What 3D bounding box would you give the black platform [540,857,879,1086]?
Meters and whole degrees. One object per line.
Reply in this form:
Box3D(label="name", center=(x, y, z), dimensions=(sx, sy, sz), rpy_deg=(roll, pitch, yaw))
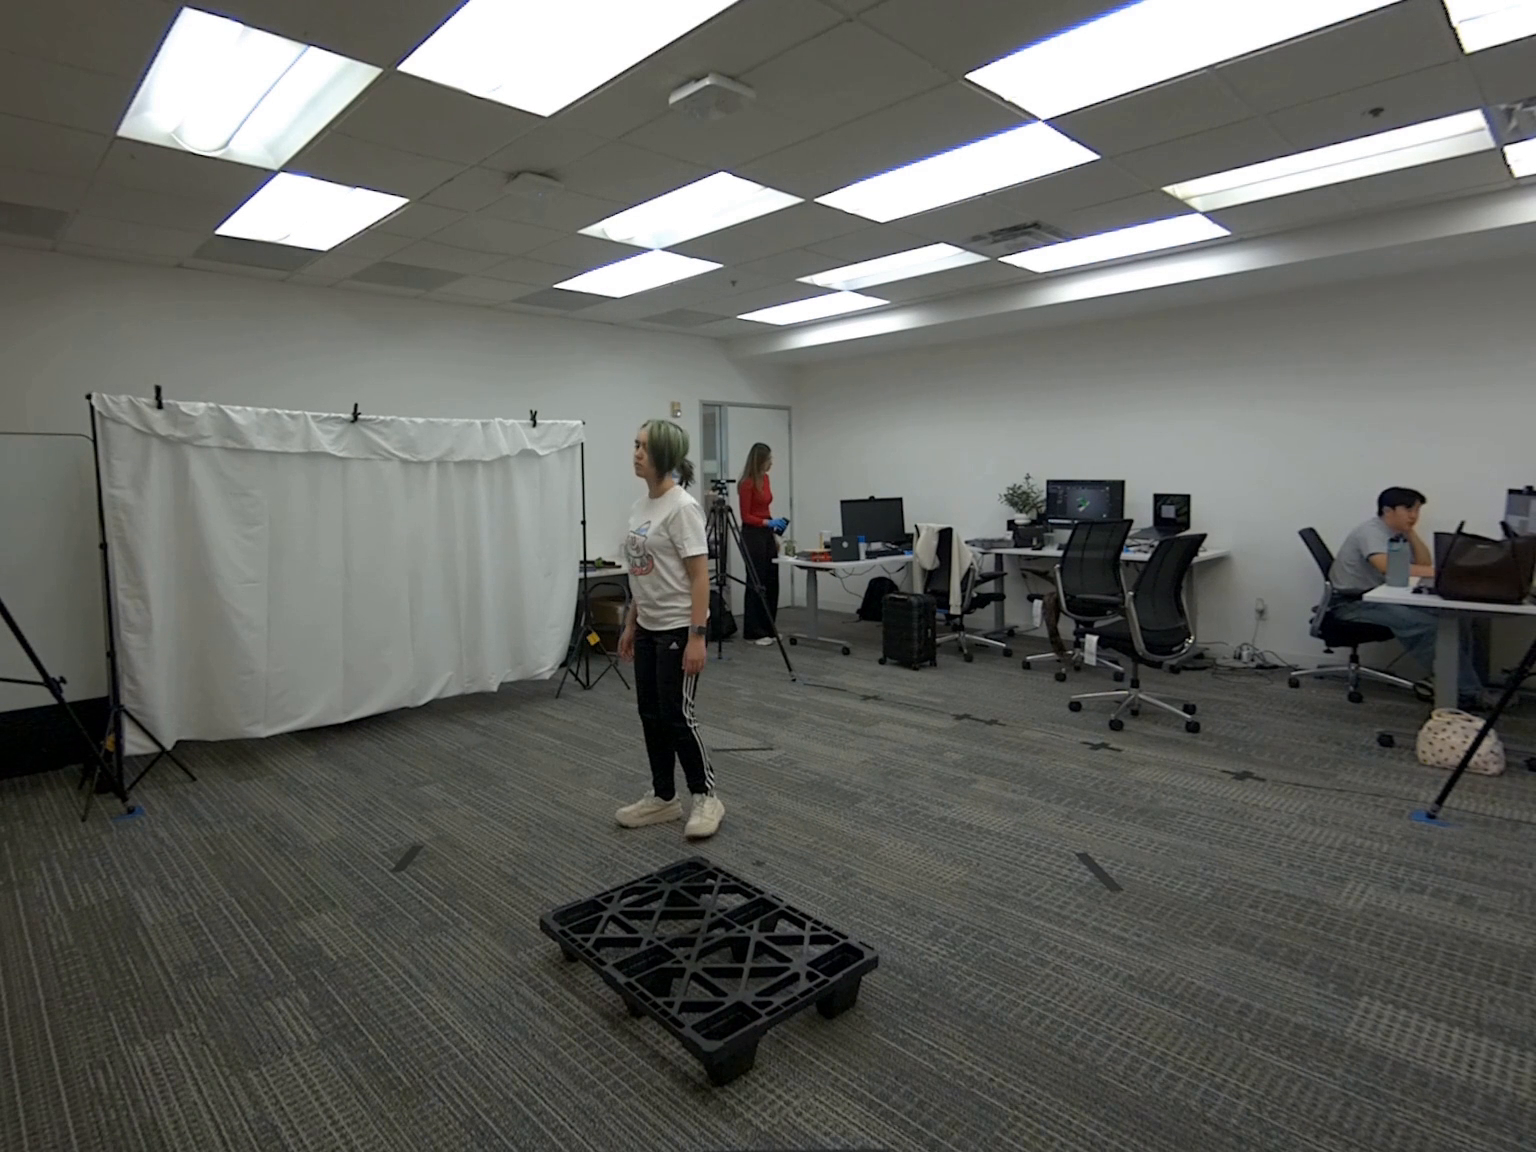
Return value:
Box3D(label="black platform", center=(-0.183, 1.070, 2.402), dimensions=(0.589, 0.142, 0.831), rpy_deg=(-7, 9, -41))
